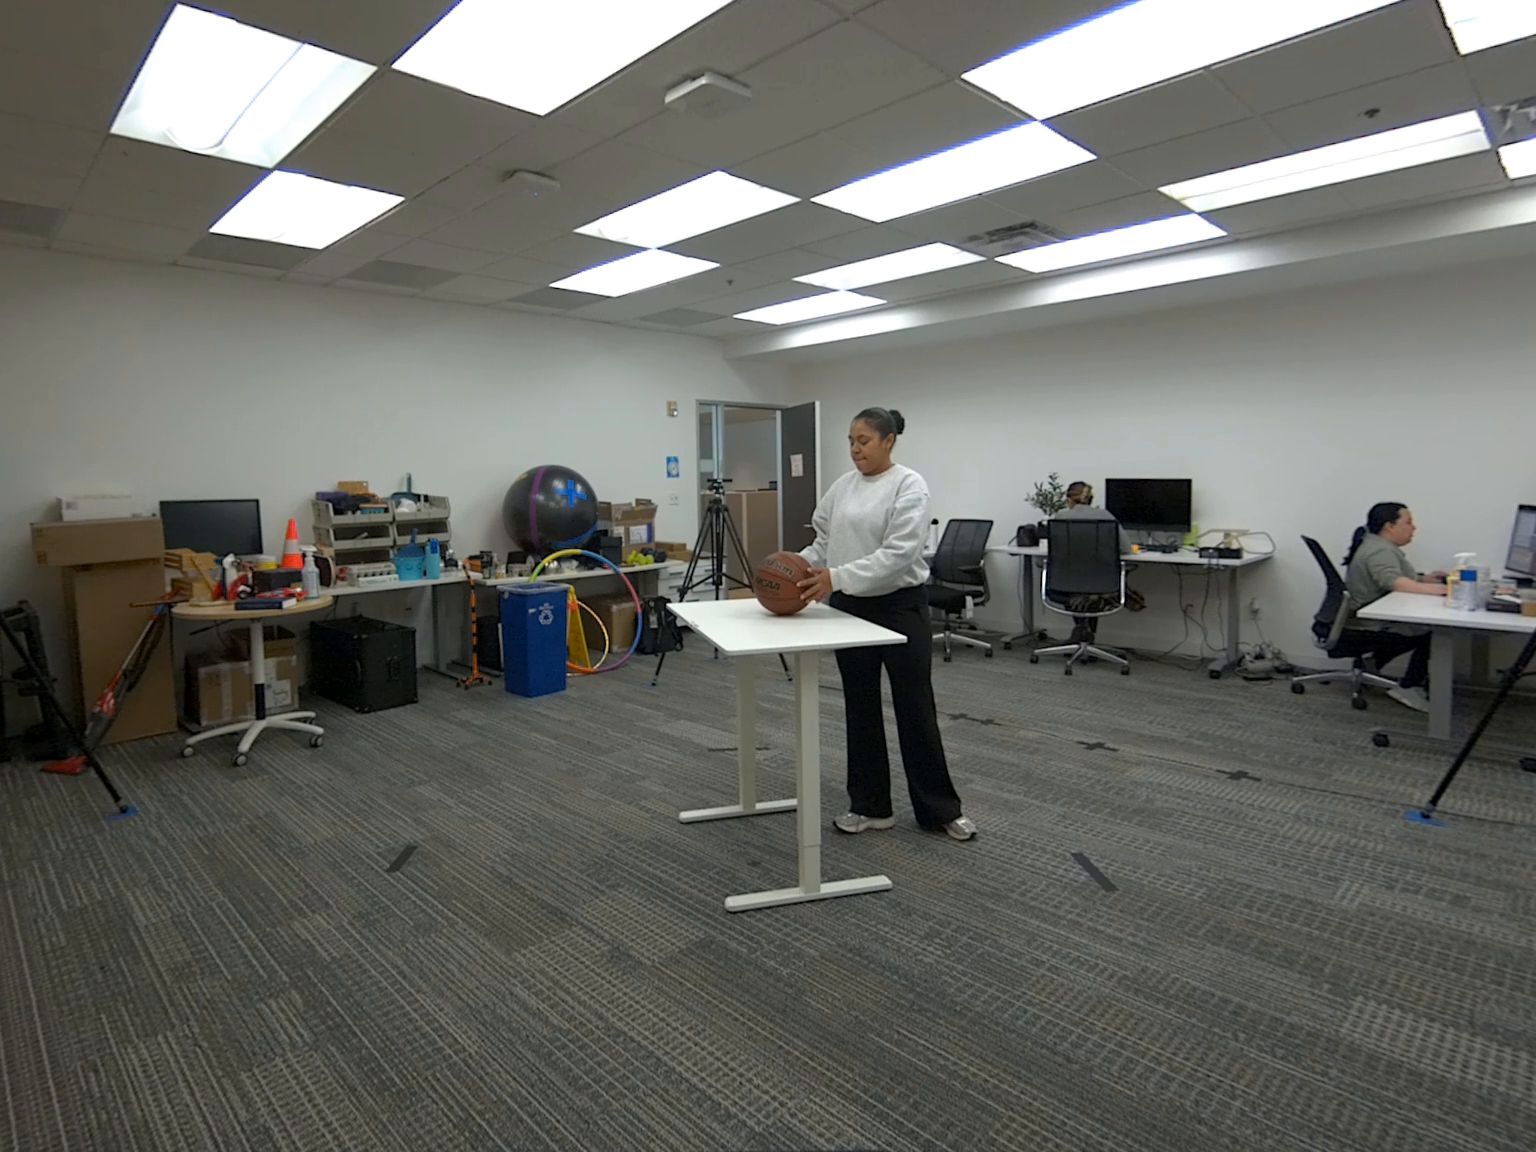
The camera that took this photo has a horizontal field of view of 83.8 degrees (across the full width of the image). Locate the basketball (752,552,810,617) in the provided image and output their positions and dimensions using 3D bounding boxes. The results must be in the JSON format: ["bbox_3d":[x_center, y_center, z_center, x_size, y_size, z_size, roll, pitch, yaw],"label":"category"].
[{"bbox_3d":[0.061,0.023,3.233,0.236,0.235,0.237,-1,5,-2],"label":"basketball"}]
